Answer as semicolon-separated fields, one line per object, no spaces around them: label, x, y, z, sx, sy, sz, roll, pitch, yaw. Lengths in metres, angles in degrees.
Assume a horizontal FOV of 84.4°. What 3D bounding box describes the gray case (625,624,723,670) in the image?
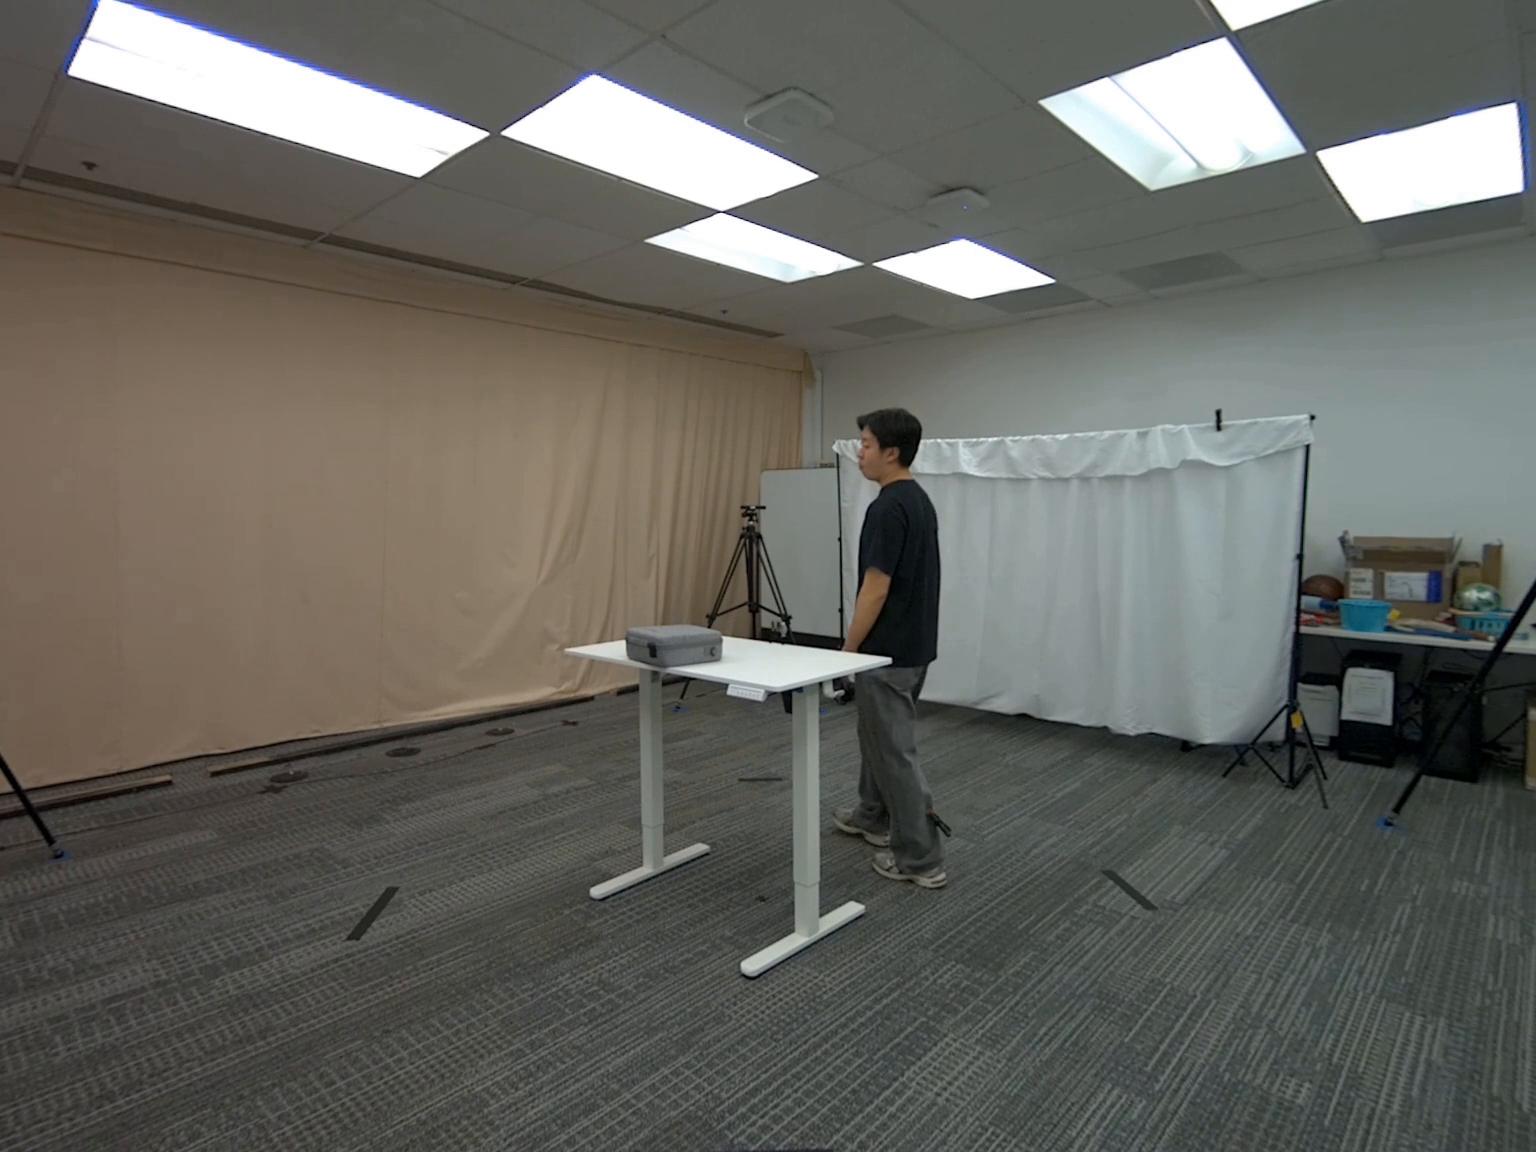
gray case;-0.310;0.226;2.796;0.253;0.104;0.265;-2;4;-35
